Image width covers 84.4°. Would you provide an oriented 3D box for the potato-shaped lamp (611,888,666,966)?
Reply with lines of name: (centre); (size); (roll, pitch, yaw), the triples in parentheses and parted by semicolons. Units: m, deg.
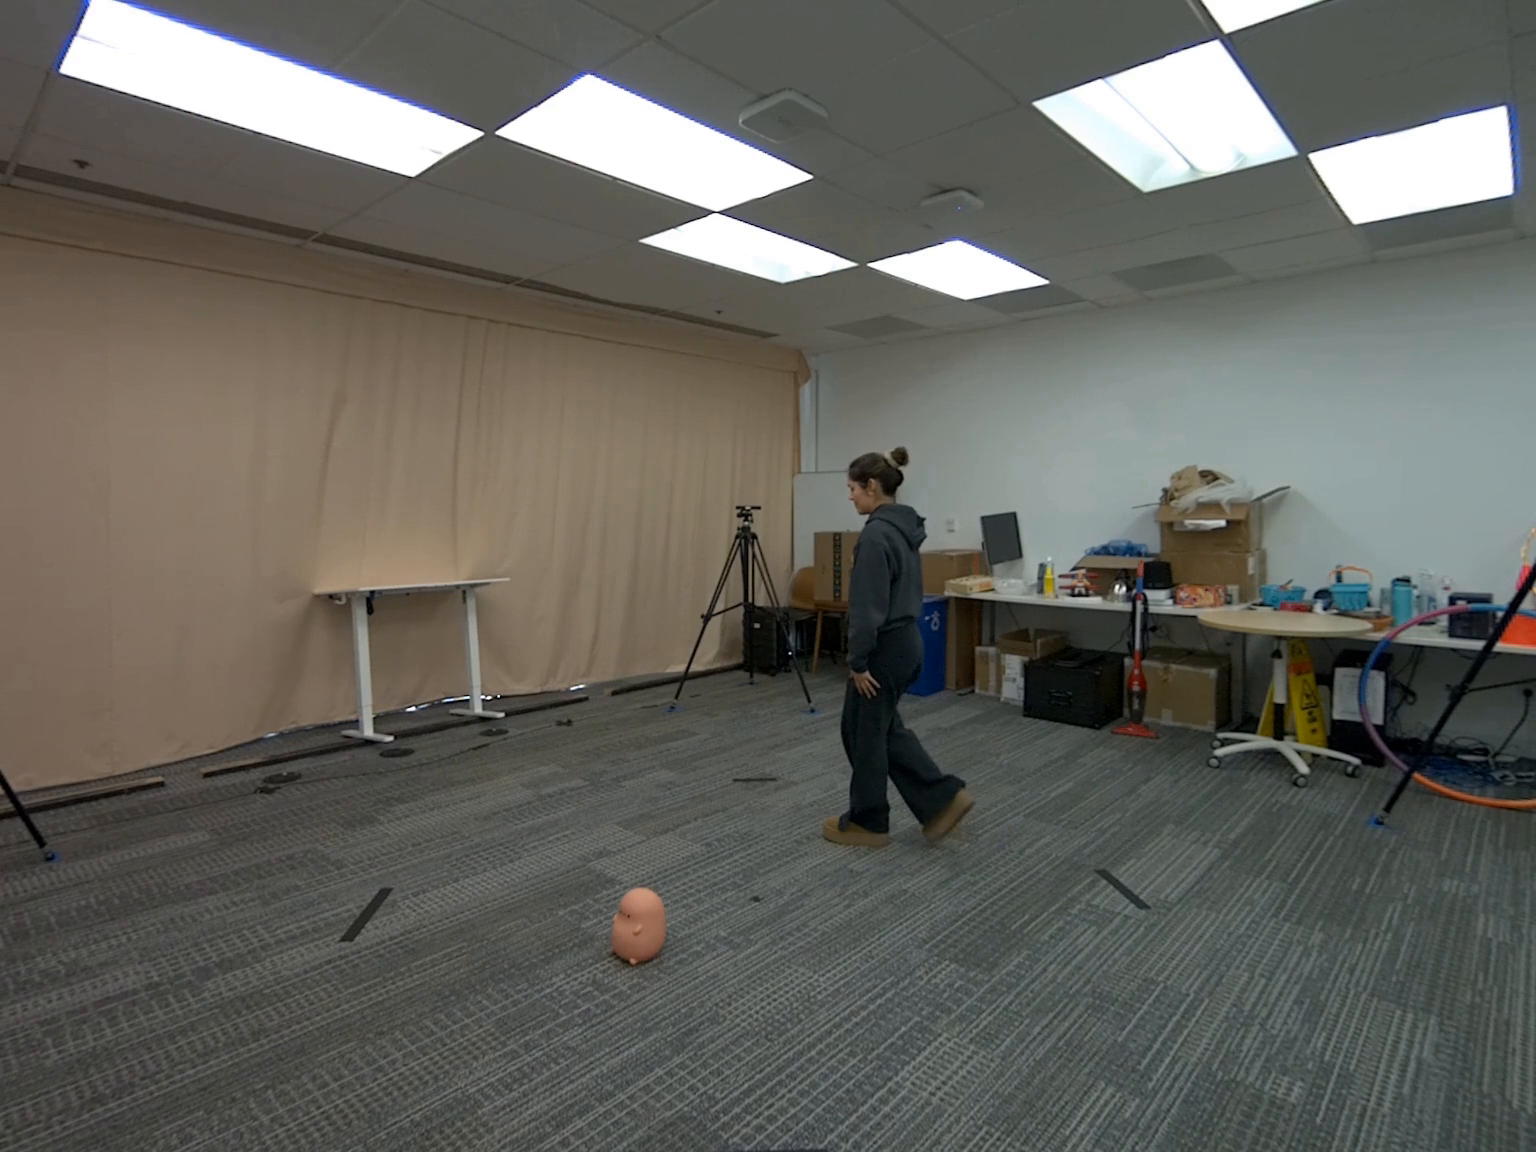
potato-shaped lamp: (-0.384, 1.083, 2.619); (0.166, 0.198, 0.170); (-3, 4, -39)
